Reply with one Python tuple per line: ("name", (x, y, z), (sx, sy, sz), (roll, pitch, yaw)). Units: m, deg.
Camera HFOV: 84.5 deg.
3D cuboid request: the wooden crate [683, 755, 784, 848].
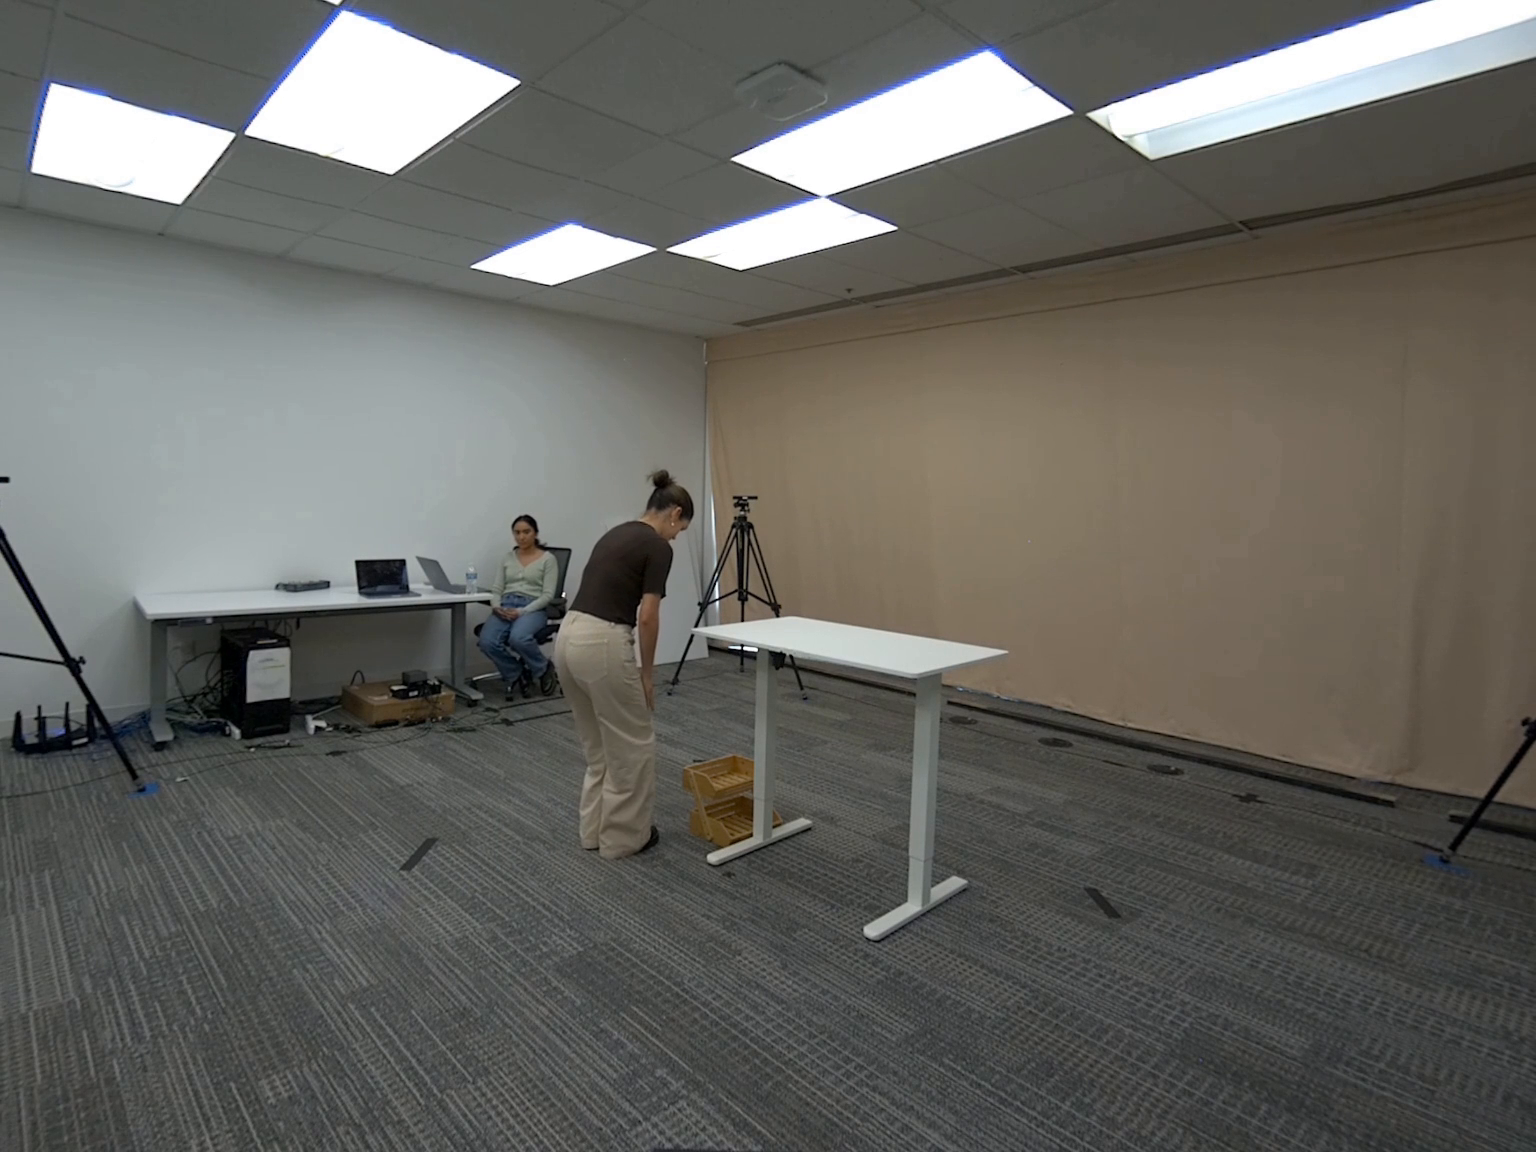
("wooden crate", (-0.152, 0.933, 3.522), (0.309, 0.273, 0.317), (4, 5, 44))
